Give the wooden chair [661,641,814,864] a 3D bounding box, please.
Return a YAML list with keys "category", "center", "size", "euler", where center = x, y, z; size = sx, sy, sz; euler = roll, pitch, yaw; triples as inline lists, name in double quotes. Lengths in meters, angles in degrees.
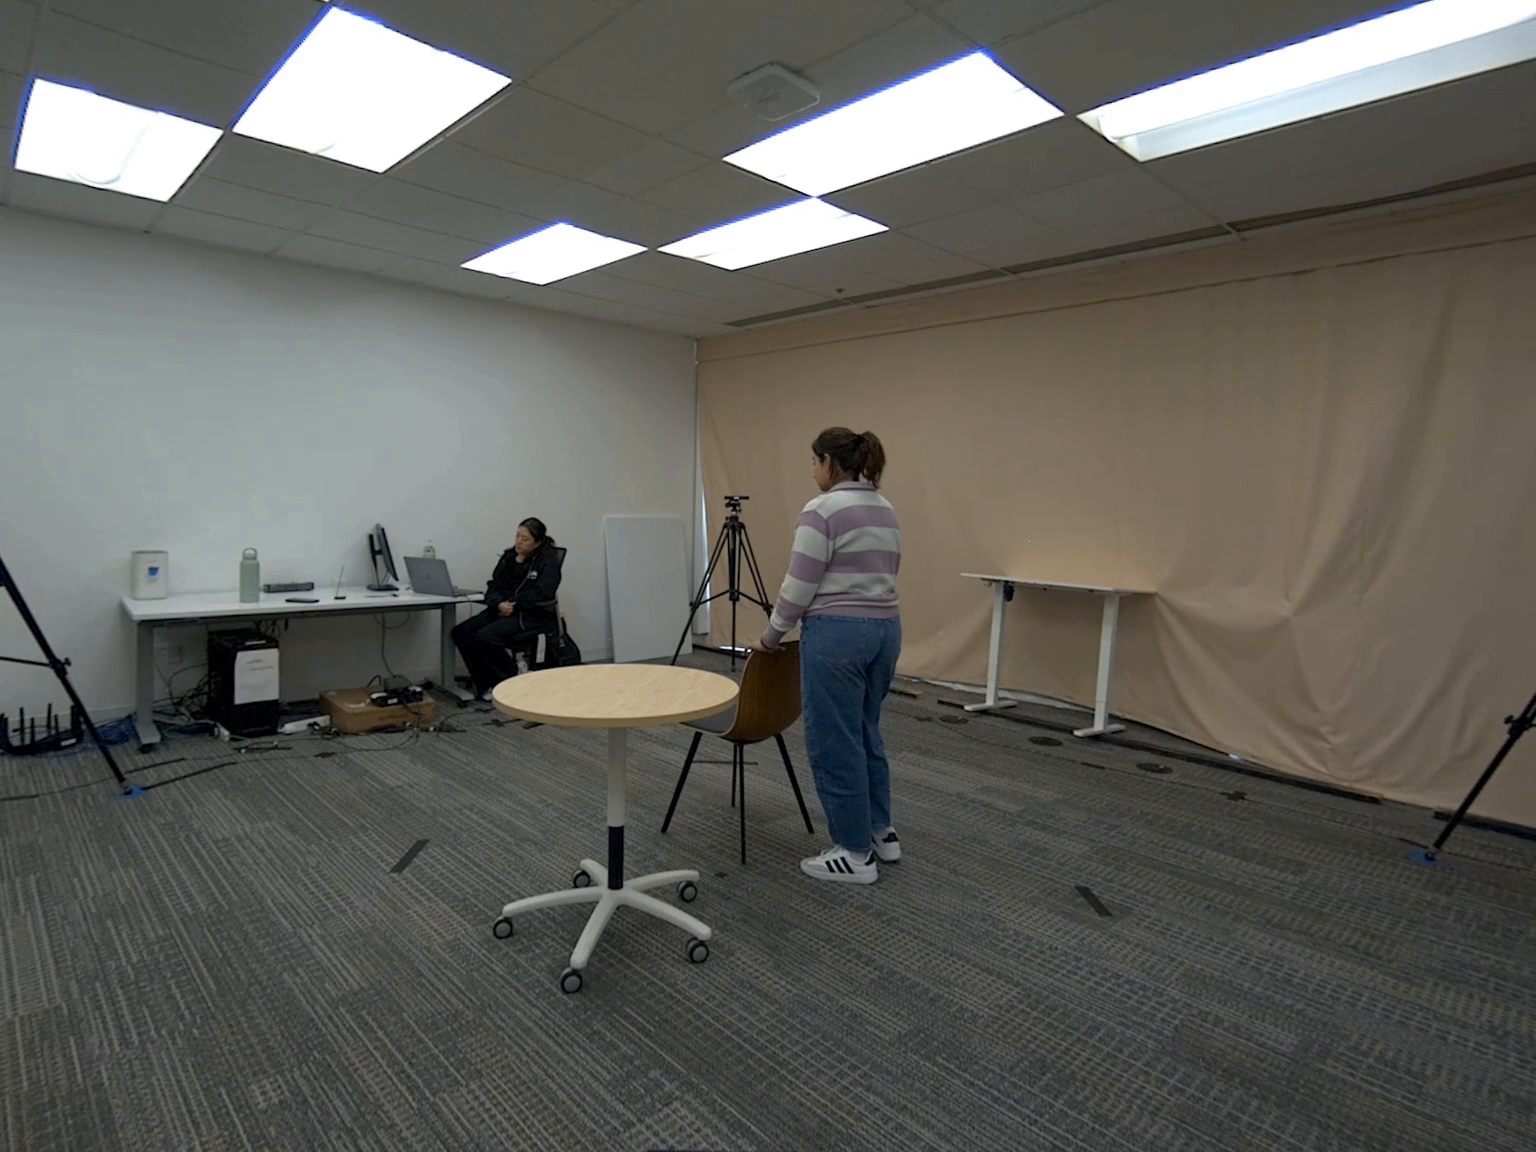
- category: "wooden chair"
  center: [-0.126, 0.643, 3.475]
  size: [0.537, 0.874, 0.467]
  euler: [10, 8, 40]
